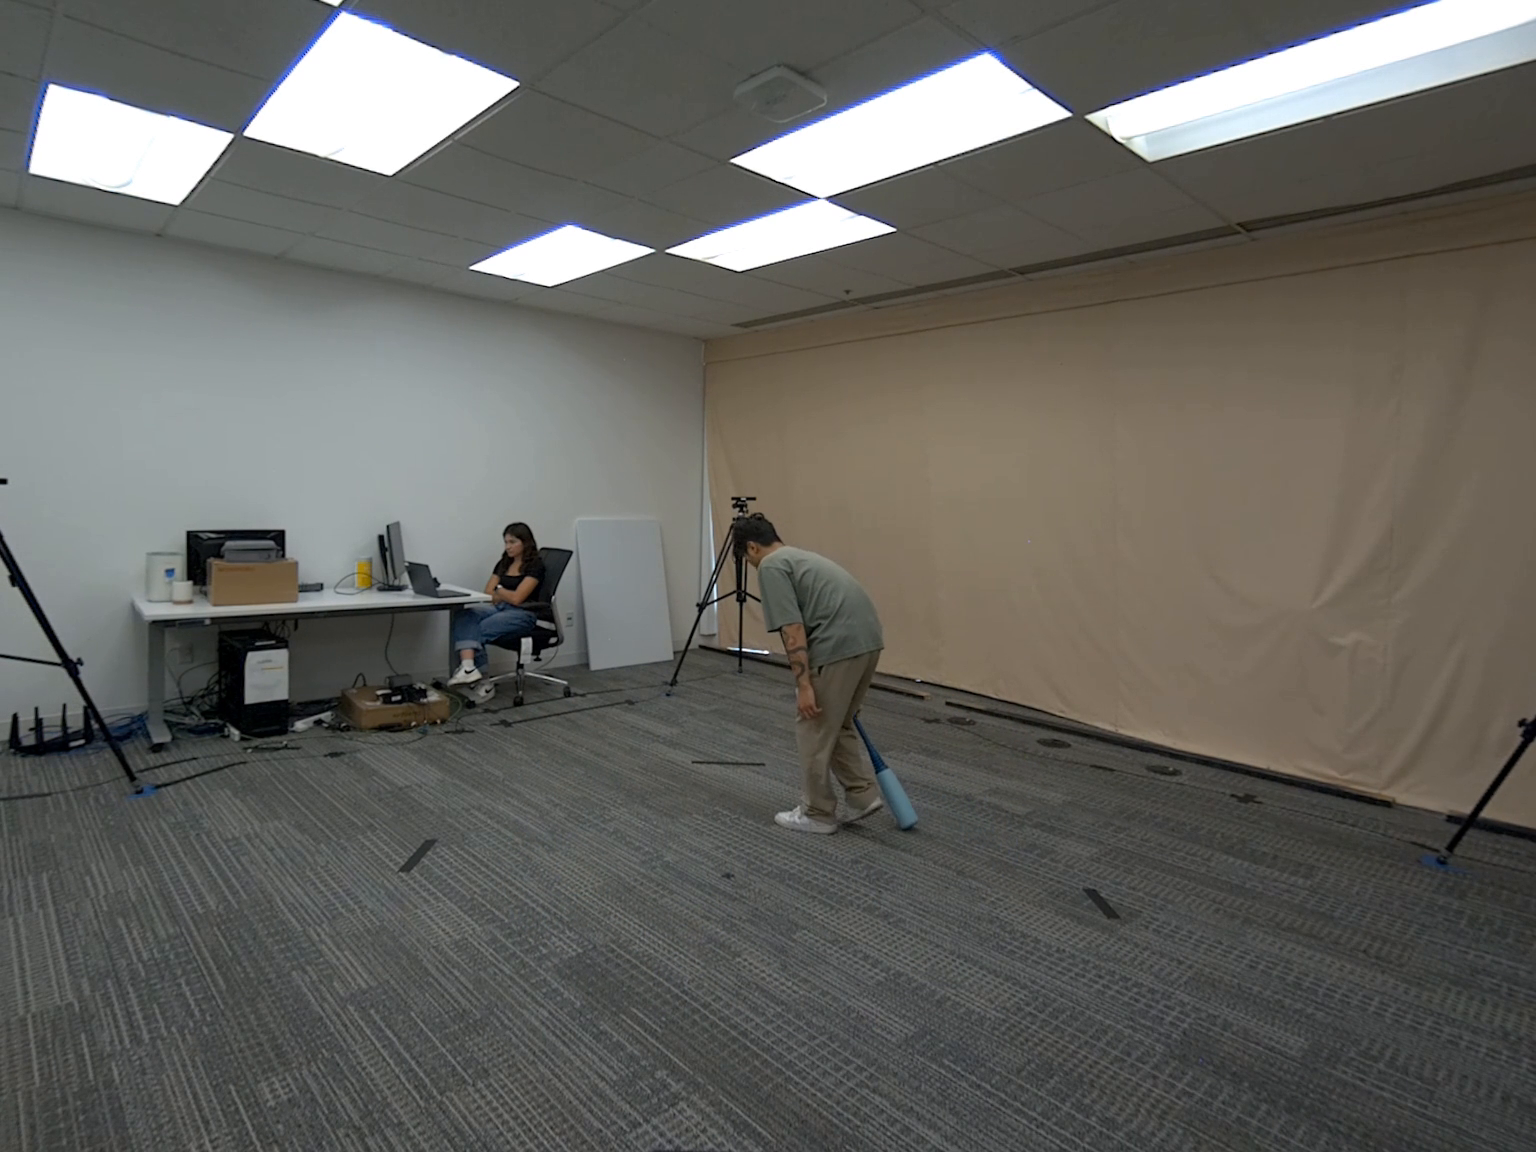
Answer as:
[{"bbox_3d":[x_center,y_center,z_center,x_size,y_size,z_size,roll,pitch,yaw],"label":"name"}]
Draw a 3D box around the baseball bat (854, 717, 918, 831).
[{"bbox_3d":[0.487,0.843,3.694,0.088,0.555,0.087,-22,-24,-11],"label":"baseball bat"}]
